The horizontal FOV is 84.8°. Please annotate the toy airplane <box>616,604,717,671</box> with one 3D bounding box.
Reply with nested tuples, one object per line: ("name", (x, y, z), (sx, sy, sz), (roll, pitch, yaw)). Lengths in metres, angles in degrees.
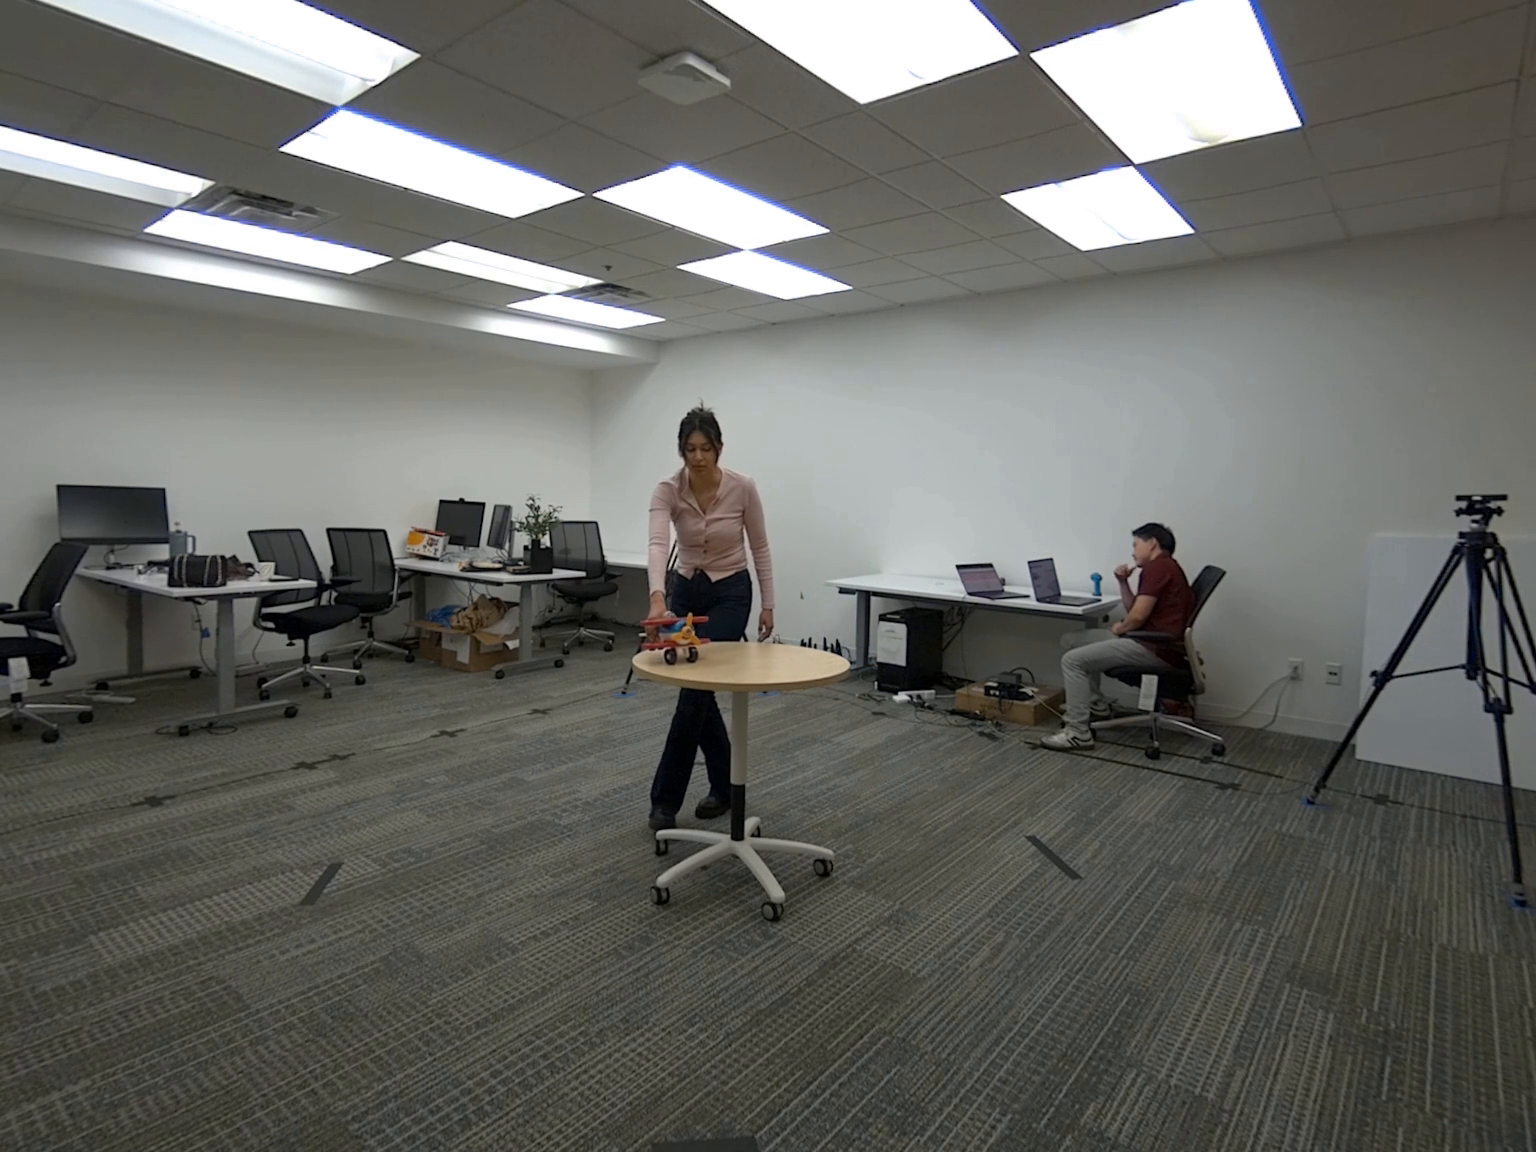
("toy airplane", (-0.356, 0.205, 2.983), (0.267, 0.155, 0.245), (9, 10, 28))
